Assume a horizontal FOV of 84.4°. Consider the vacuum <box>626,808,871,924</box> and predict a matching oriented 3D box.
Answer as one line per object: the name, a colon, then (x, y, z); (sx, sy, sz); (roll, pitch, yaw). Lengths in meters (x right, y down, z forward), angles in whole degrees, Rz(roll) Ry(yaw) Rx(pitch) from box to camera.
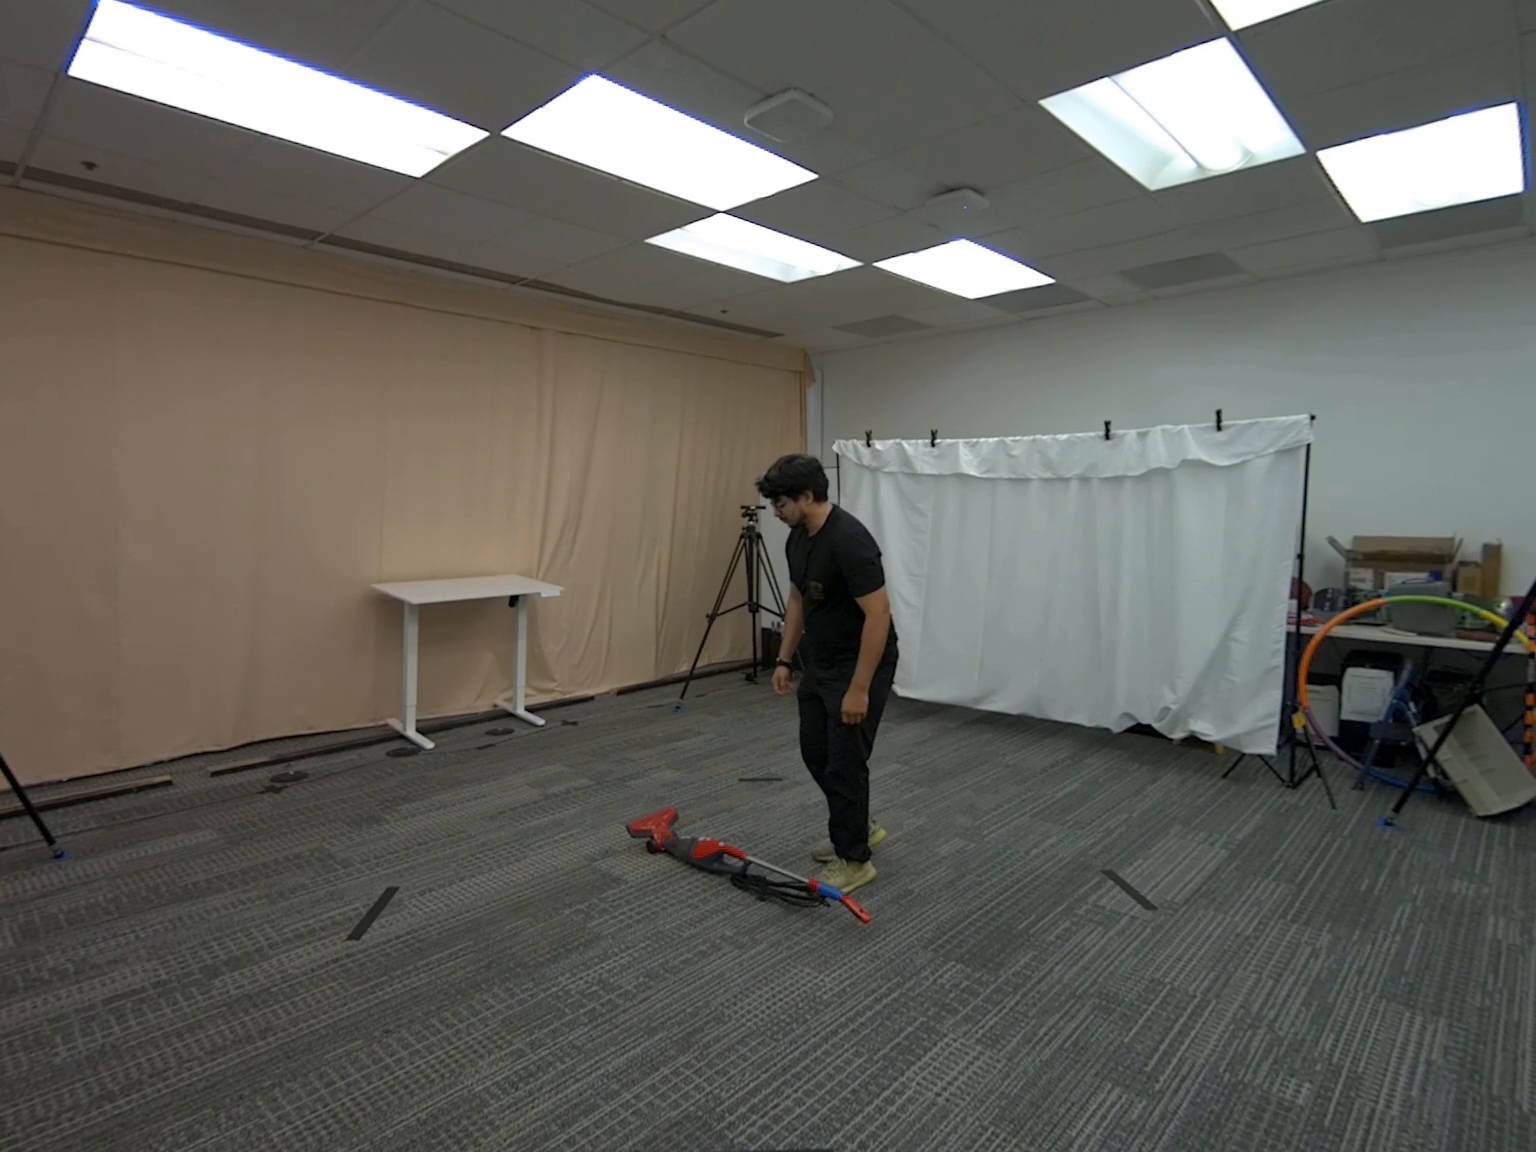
vacuum: (-0.073, 1.078, 3.075); (0.245, 0.143, 1.085); (-8, 9, -44)
